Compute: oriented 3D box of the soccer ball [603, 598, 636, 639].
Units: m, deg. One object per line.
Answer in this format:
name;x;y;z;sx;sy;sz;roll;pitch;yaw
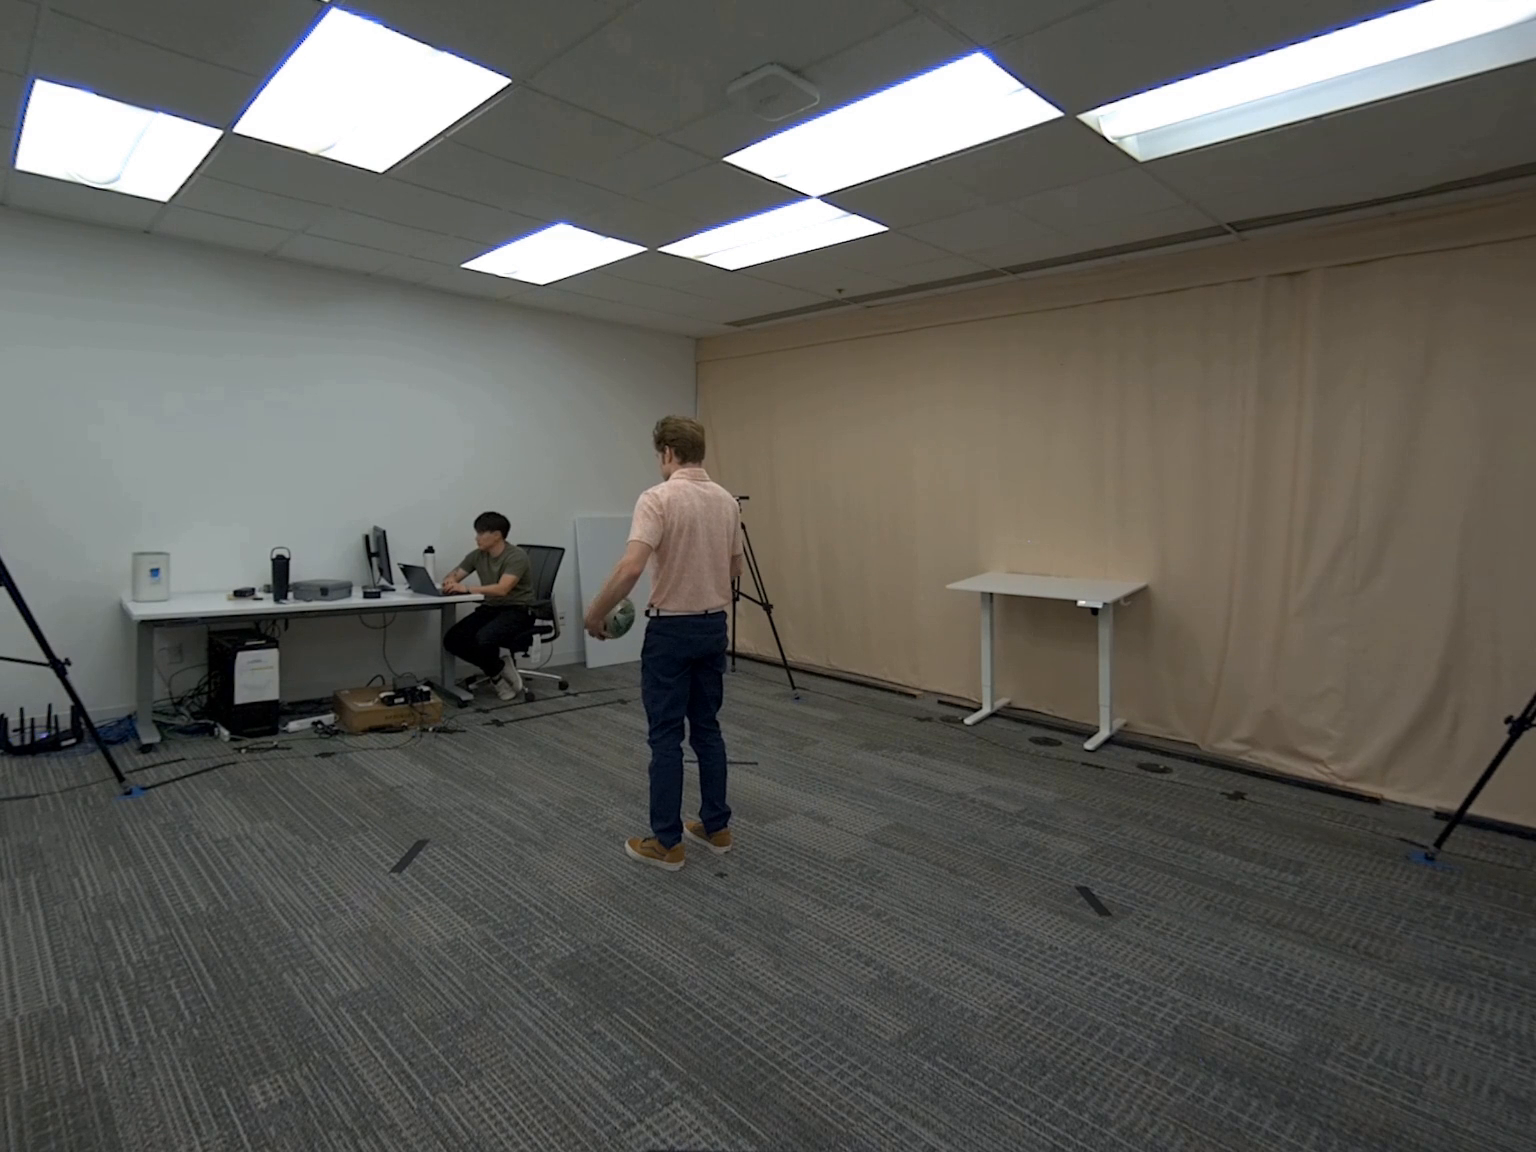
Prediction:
soccer ball;-0.590;0.153;3.207;0.187;0.187;0.188;1;4;-1
